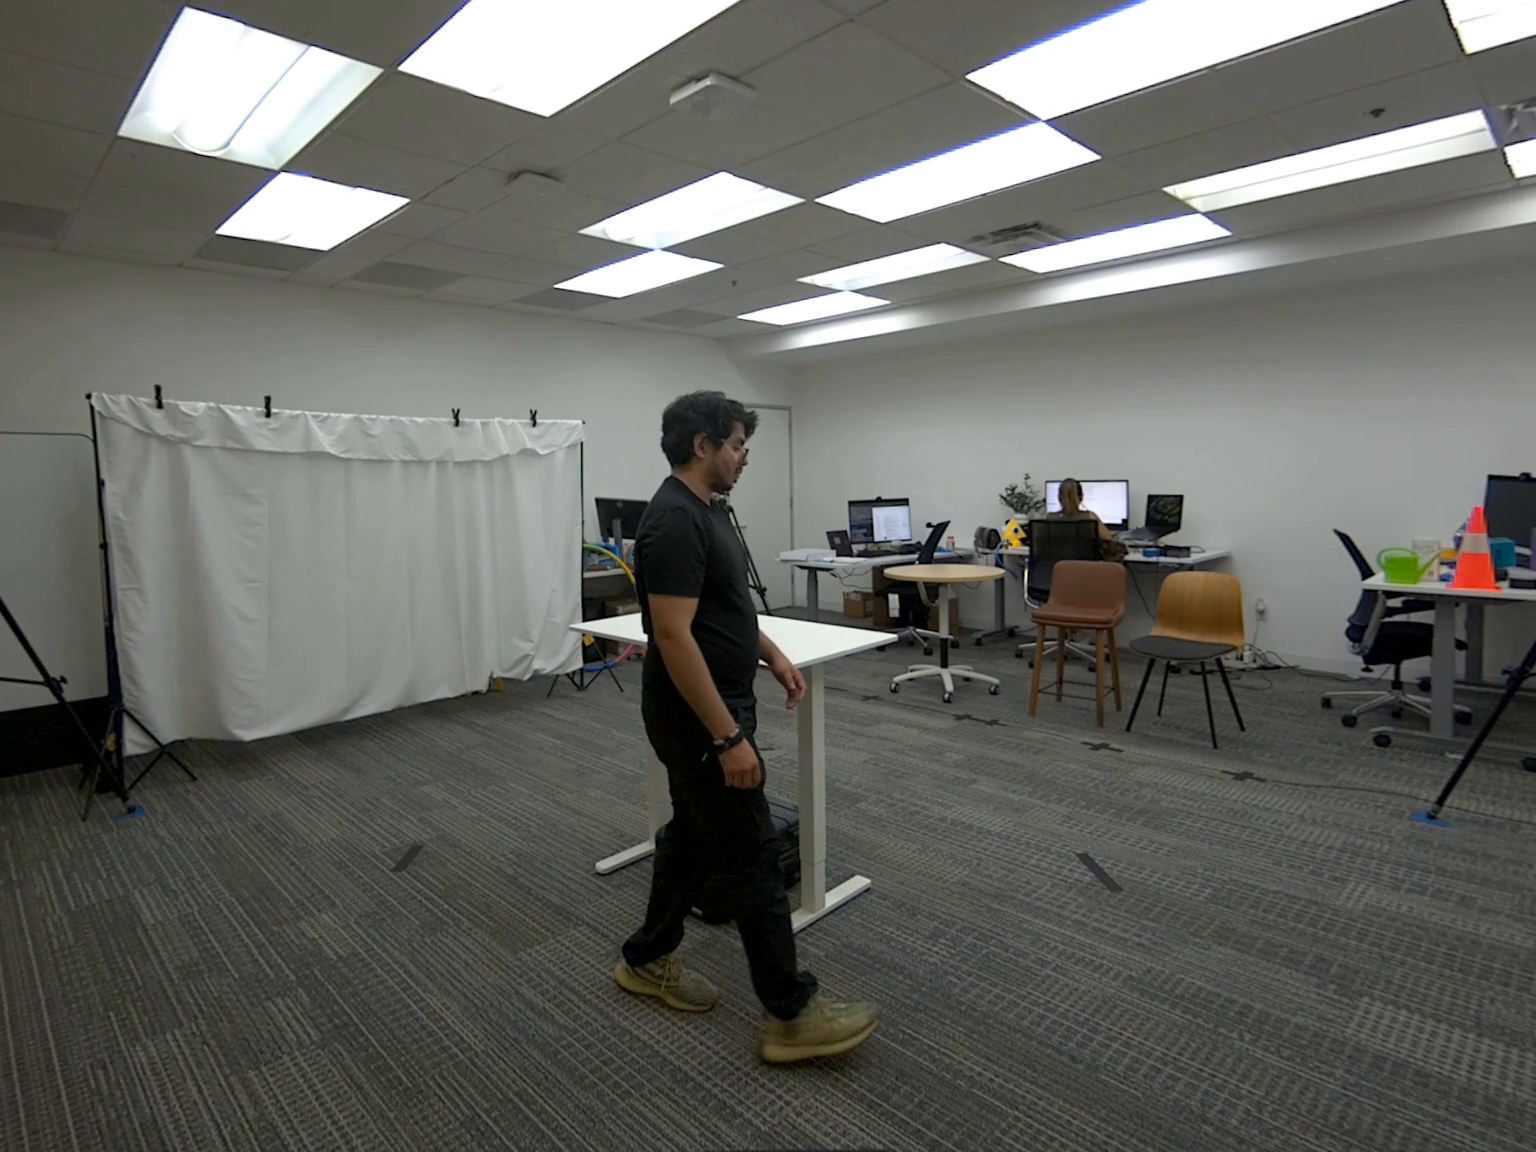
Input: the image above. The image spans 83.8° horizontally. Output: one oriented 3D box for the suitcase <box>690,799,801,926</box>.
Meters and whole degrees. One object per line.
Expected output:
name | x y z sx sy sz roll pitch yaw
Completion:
suitcase | -0.102 0.950 2.946 0.387 0.247 0.535 4 8 42
